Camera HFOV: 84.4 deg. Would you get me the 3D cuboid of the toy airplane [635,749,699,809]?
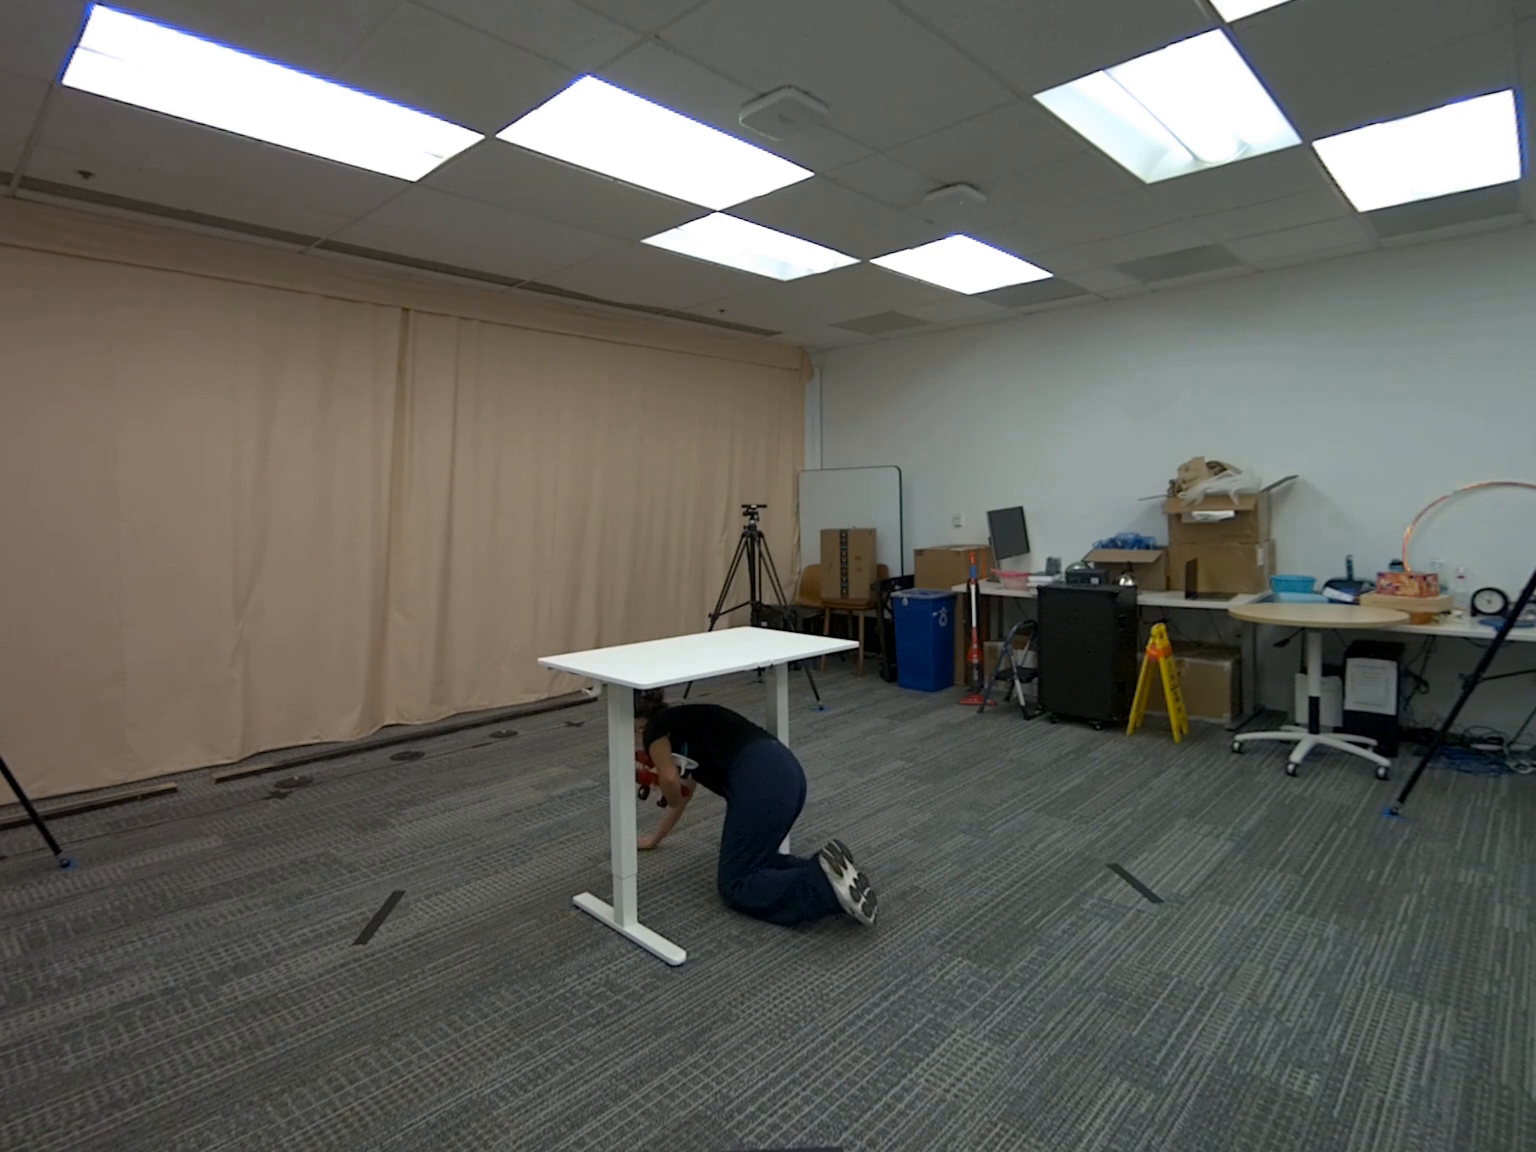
[{"bbox_3d":[-0.361,0.727,3.080,0.261,0.243,0.160,-23,36,12],"label":"toy airplane"}]
